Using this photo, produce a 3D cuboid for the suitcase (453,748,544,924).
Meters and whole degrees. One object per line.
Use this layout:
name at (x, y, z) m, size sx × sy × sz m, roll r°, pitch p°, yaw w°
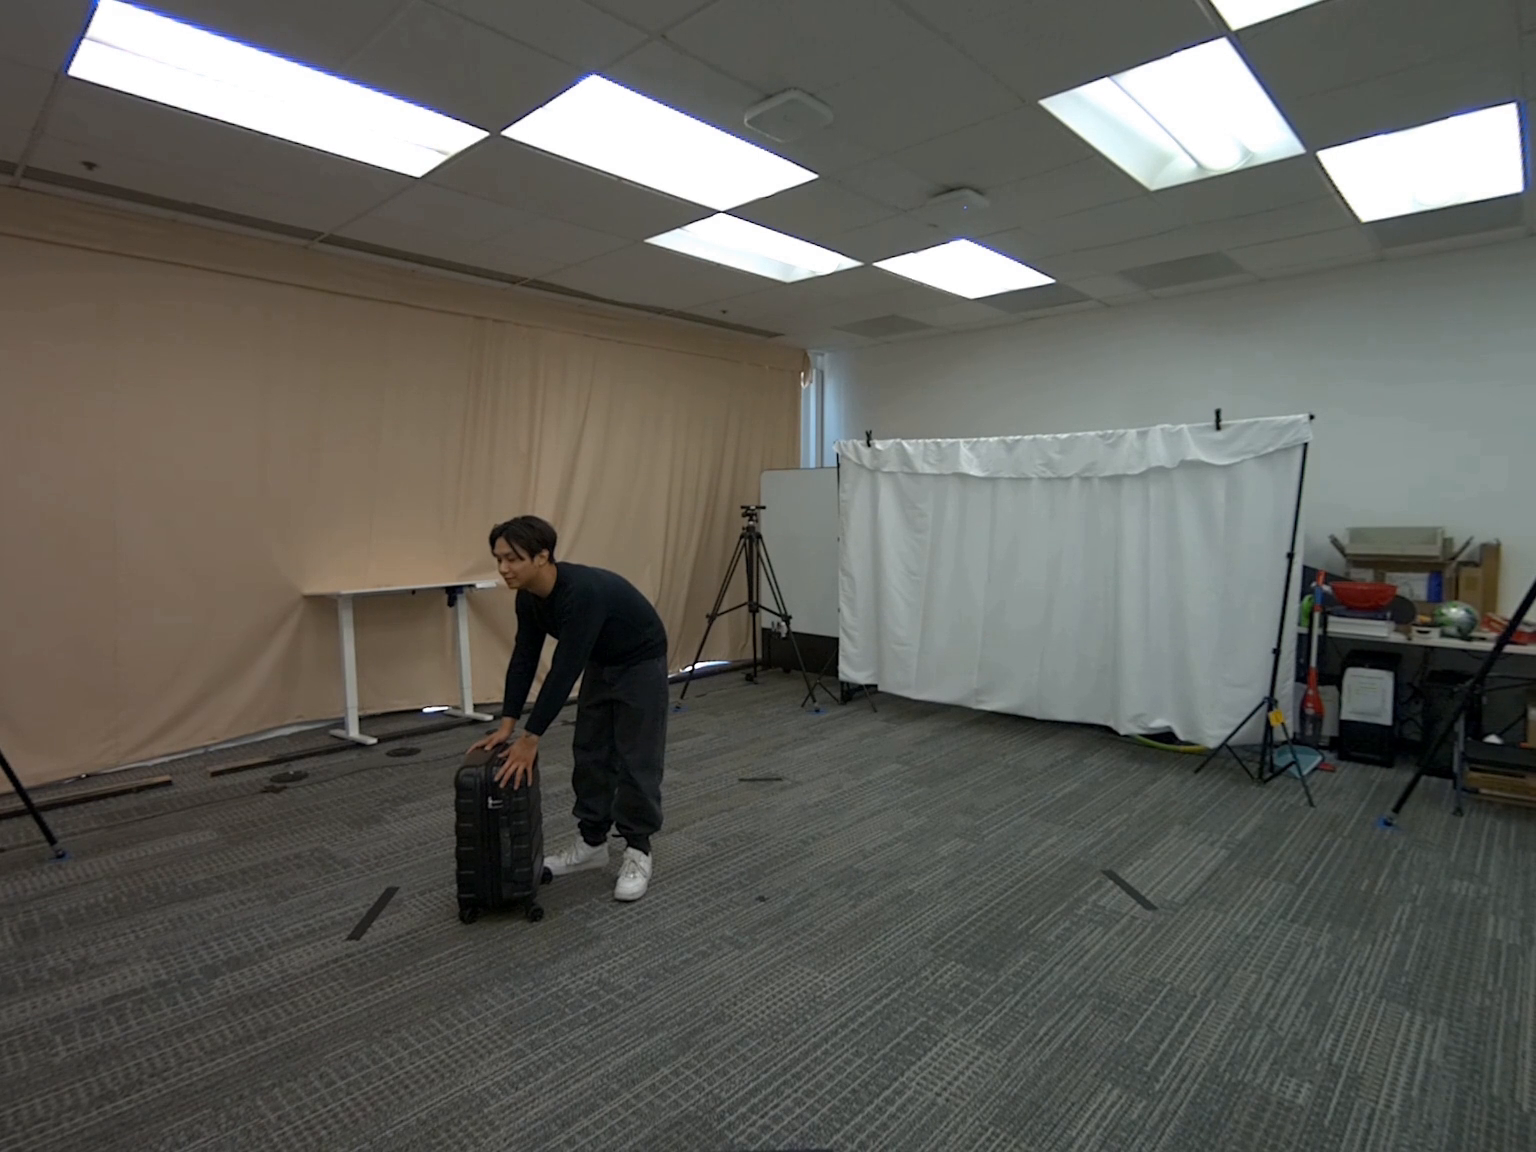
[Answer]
suitcase at (-0.944, 0.879, 2.952) m, size 0.247 × 0.548 × 0.378 m, roll -1°, pitch 3°, yaw -6°
